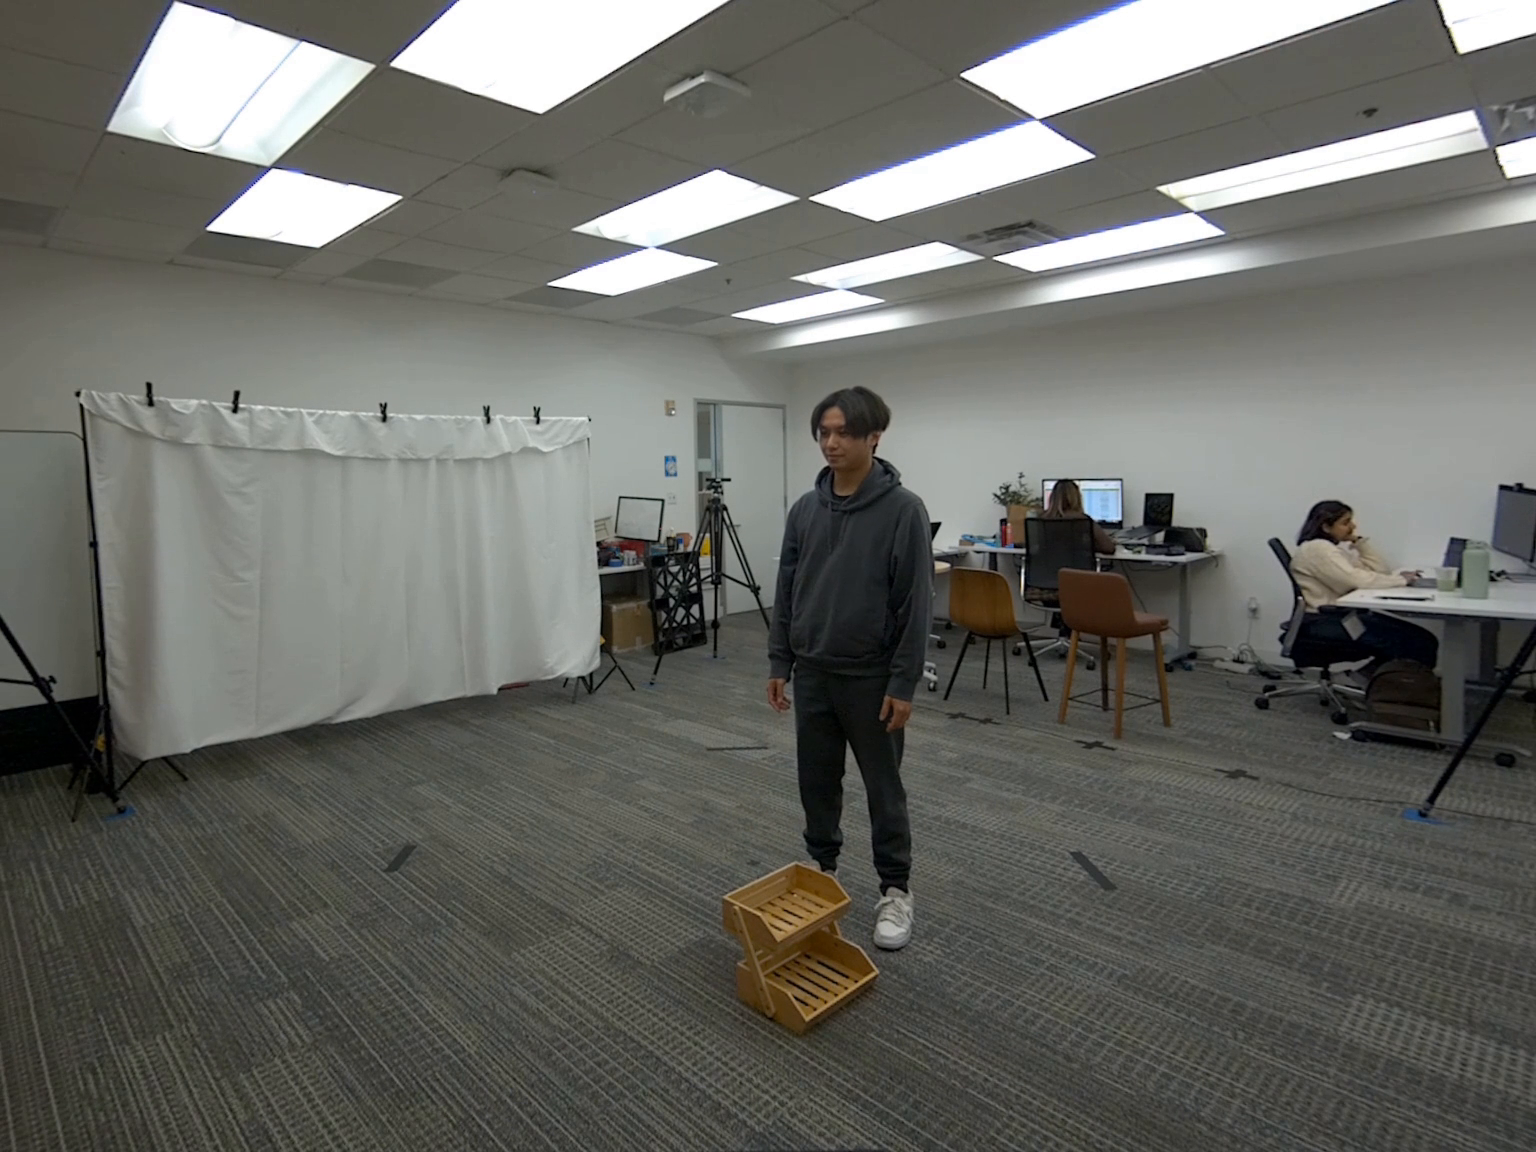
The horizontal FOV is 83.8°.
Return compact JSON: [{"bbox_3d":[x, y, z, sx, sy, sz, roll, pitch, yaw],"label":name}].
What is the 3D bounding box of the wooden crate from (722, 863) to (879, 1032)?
[{"bbox_3d":[0.081,0.998,2.335,0.316,0.272,0.311,-7,7,-44],"label":"wooden crate"}]
